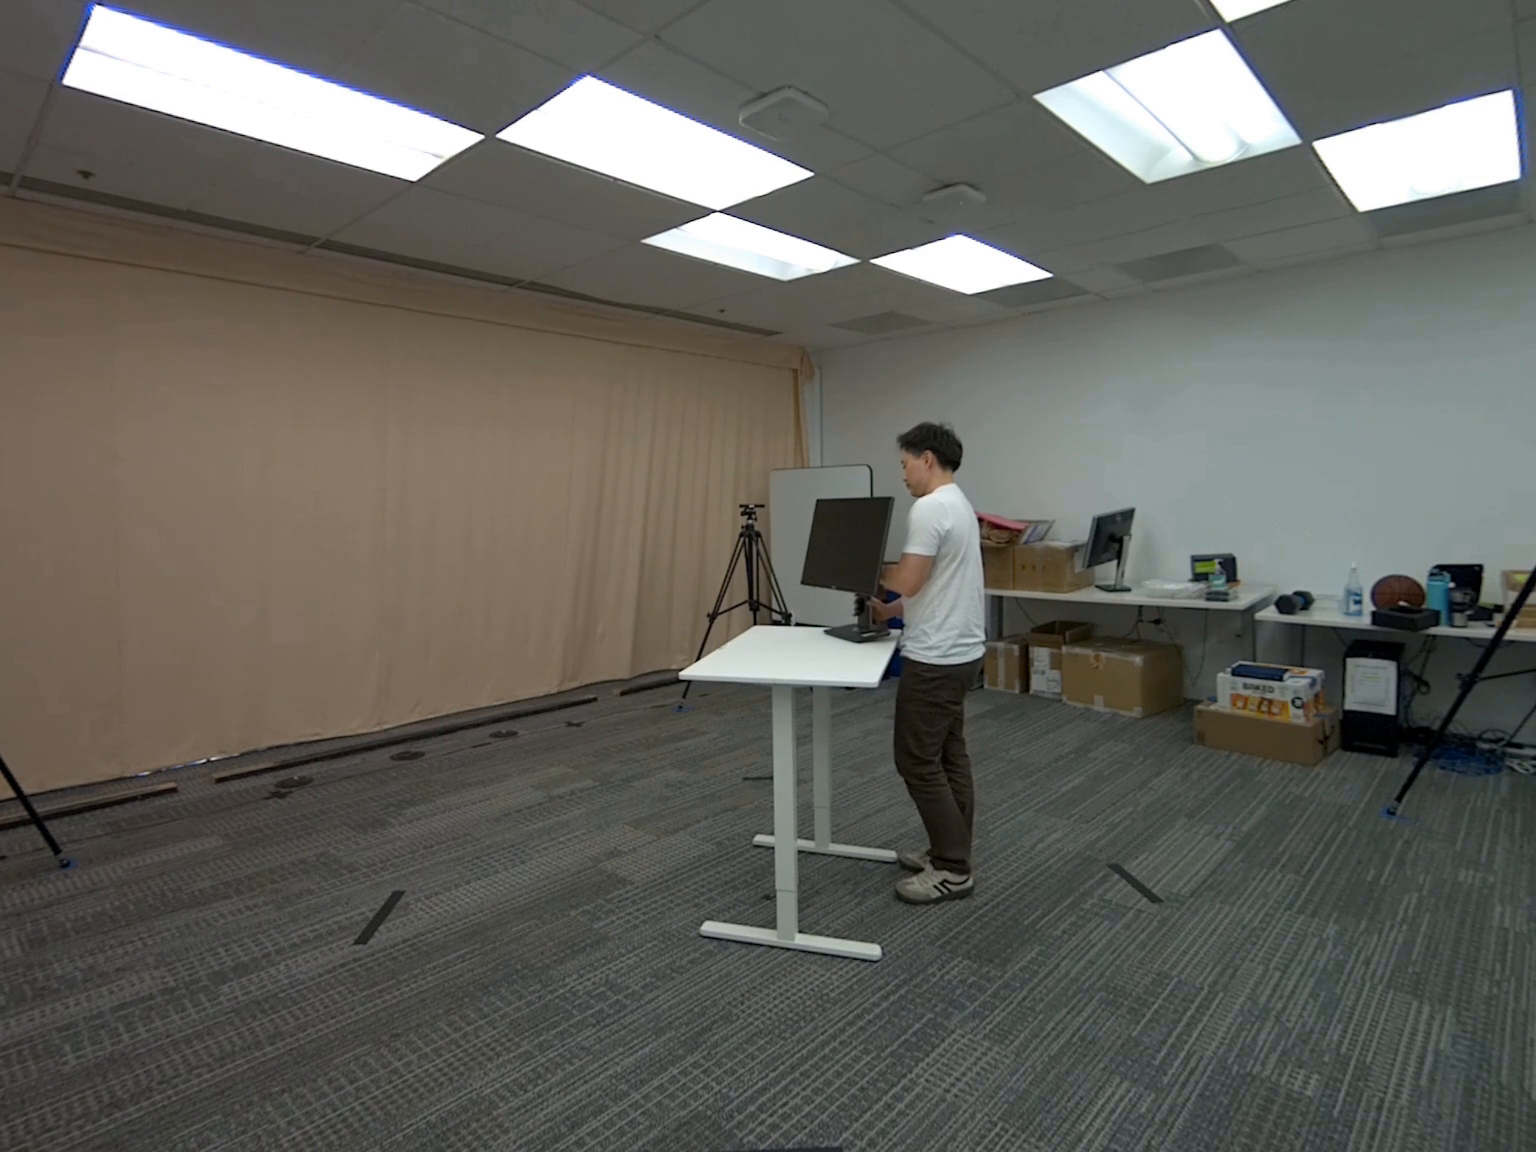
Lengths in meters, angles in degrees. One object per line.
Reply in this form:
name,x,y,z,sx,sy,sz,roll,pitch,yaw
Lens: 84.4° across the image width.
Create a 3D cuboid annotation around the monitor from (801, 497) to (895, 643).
monitor,0.328,-0.031,3.185,0.183,0.521,0.553,-5,5,-26
